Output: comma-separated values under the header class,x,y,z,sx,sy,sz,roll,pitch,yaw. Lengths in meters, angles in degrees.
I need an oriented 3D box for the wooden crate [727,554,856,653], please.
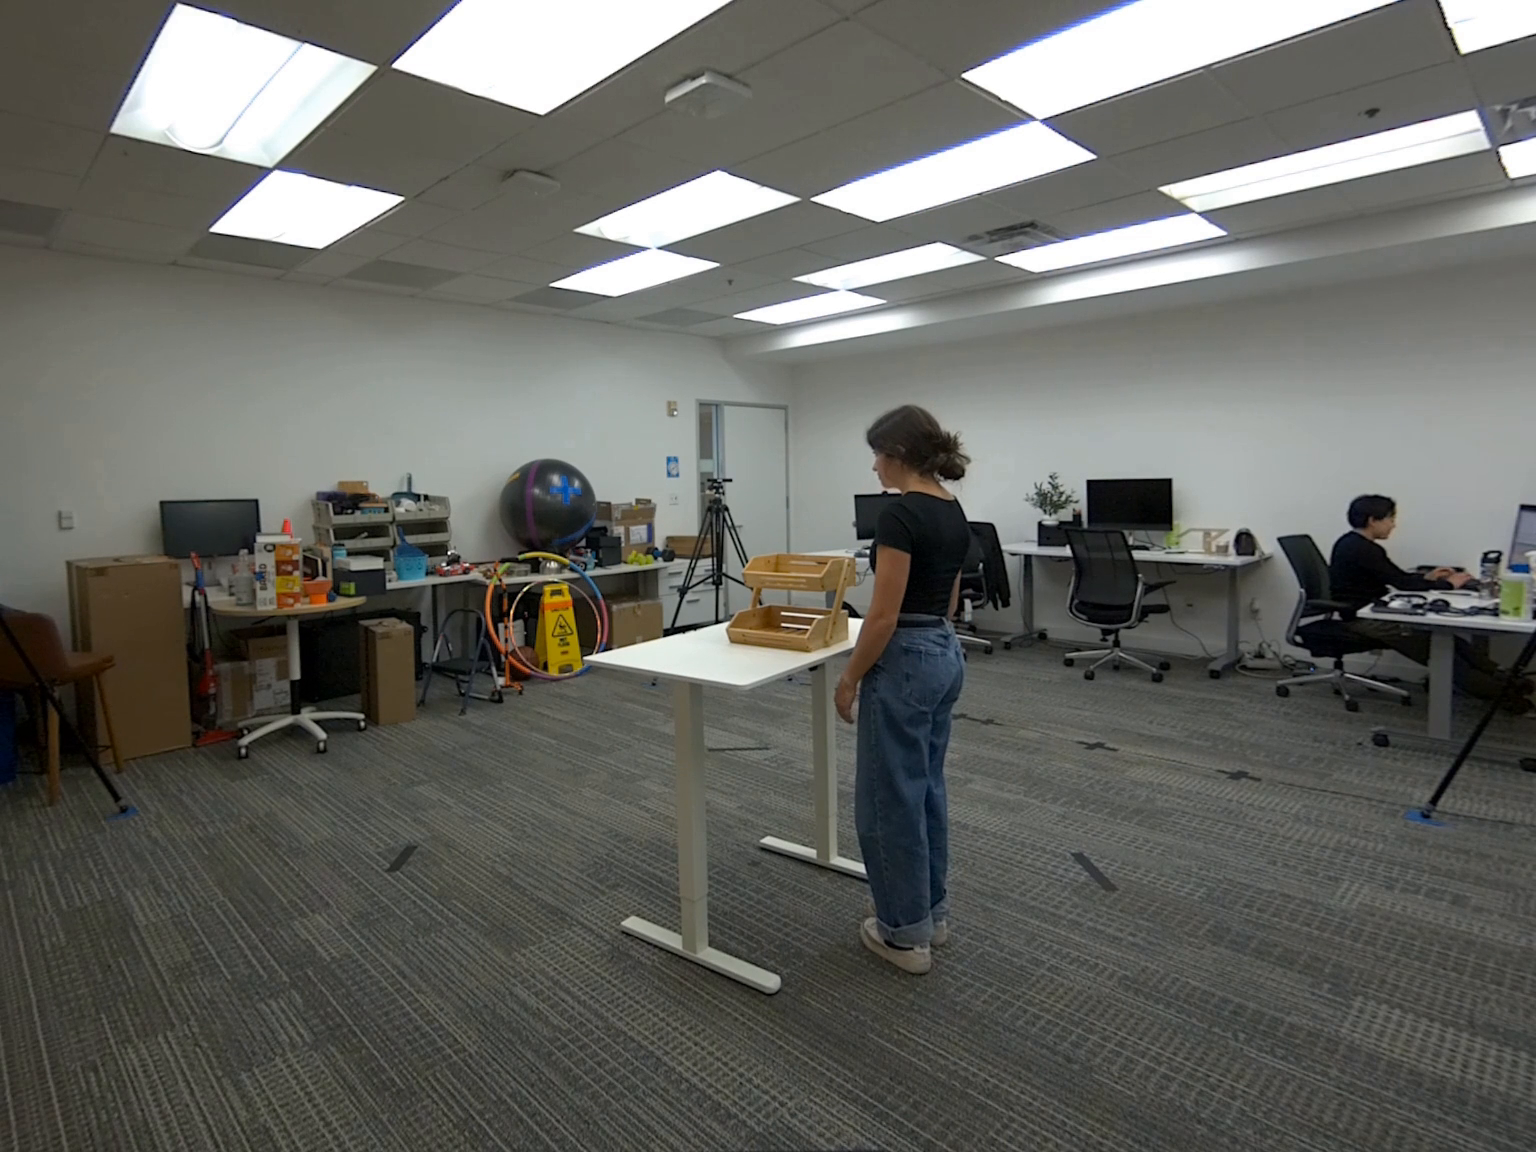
class,x,y,z,sx,sy,sz,roll,pitch,yaw
wooden crate,0.078,0.072,2.708,0.334,0.272,0.294,2,6,36
